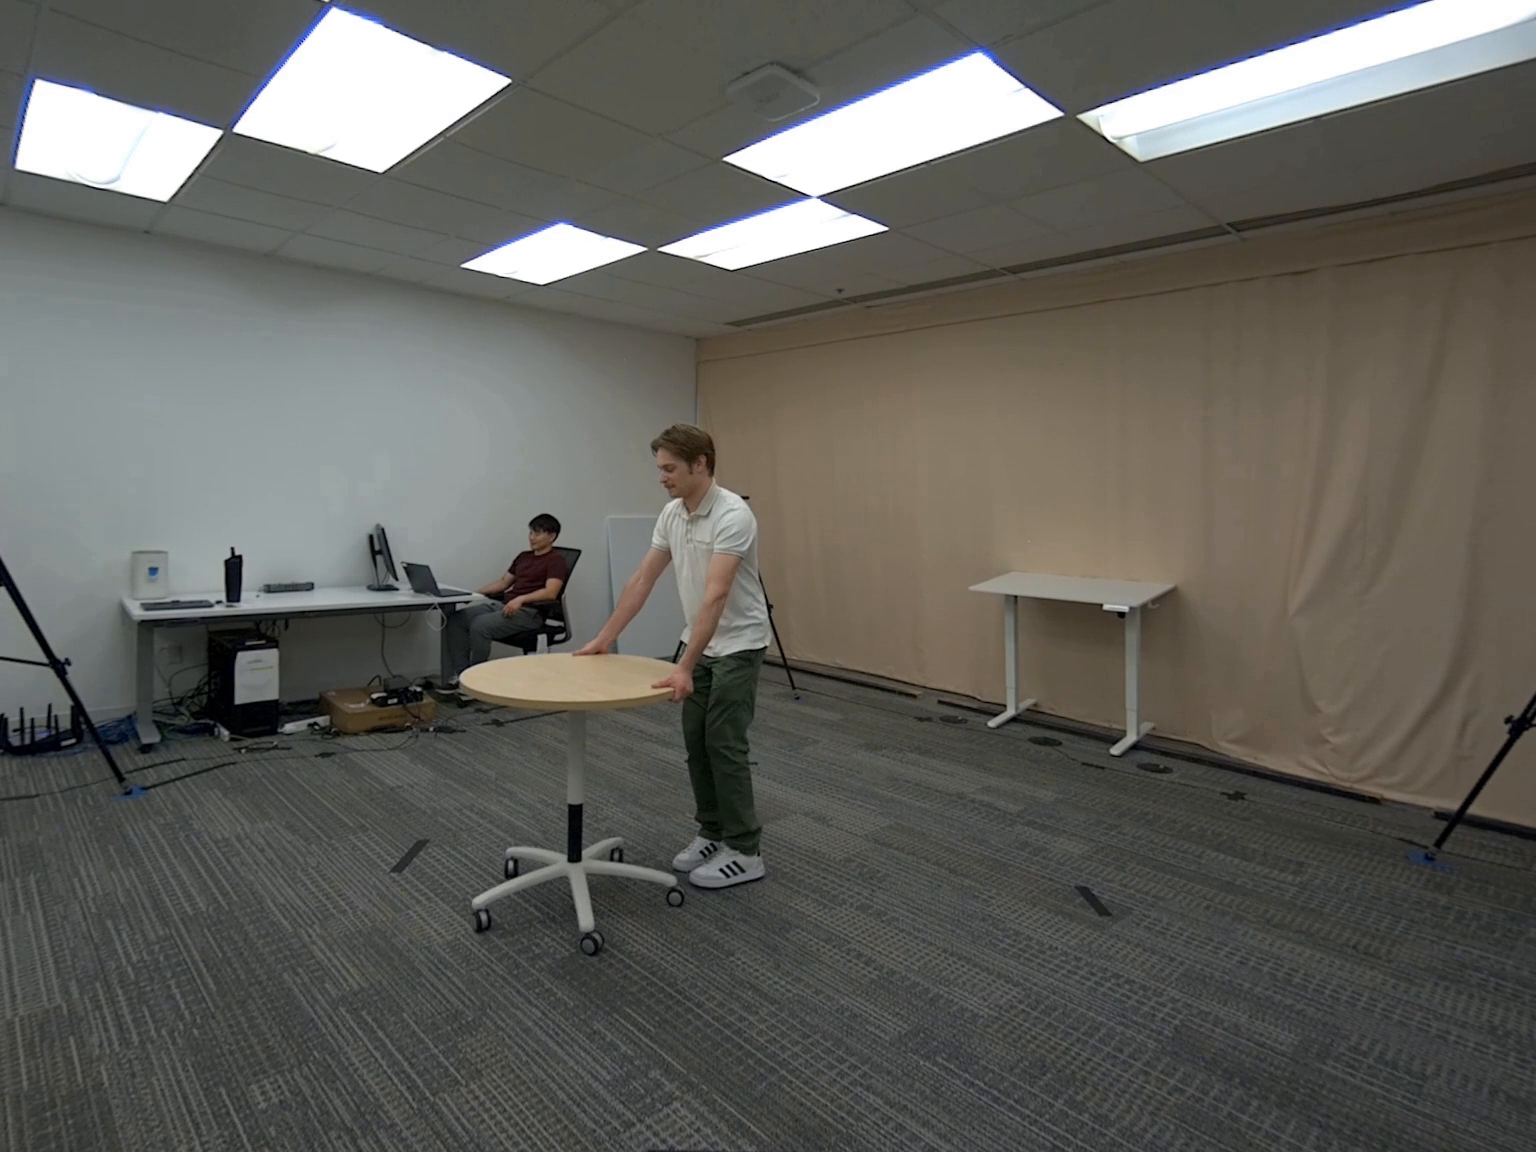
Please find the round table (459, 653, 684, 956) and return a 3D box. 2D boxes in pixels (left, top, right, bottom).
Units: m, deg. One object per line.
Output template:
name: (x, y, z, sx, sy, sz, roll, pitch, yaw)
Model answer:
round table: (-0.658, 0.726, 2.859, 0.763, 0.792, 0.767, 1, 4, -1)
